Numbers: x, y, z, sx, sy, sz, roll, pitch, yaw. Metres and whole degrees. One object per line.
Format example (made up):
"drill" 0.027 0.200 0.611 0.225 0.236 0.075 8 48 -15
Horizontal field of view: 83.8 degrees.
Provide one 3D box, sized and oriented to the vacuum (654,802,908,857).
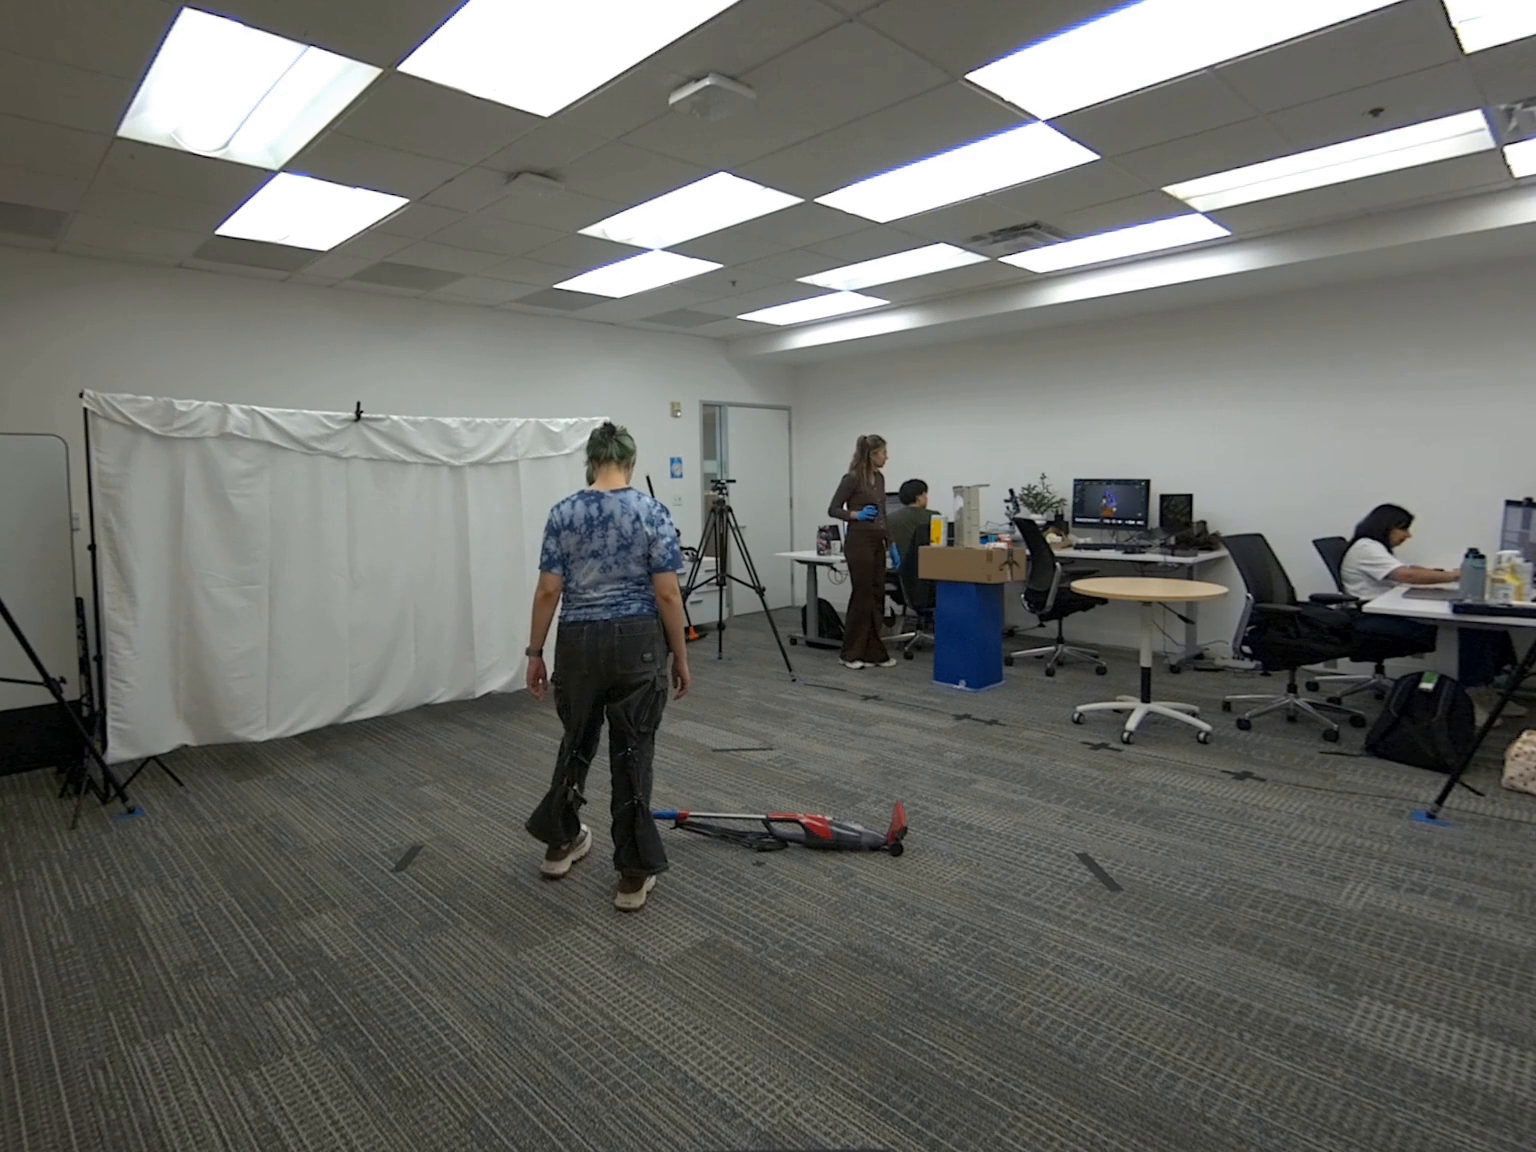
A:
"vacuum" -0.017 0.964 3.256 1.055 0.143 0.252 -2 6 6
